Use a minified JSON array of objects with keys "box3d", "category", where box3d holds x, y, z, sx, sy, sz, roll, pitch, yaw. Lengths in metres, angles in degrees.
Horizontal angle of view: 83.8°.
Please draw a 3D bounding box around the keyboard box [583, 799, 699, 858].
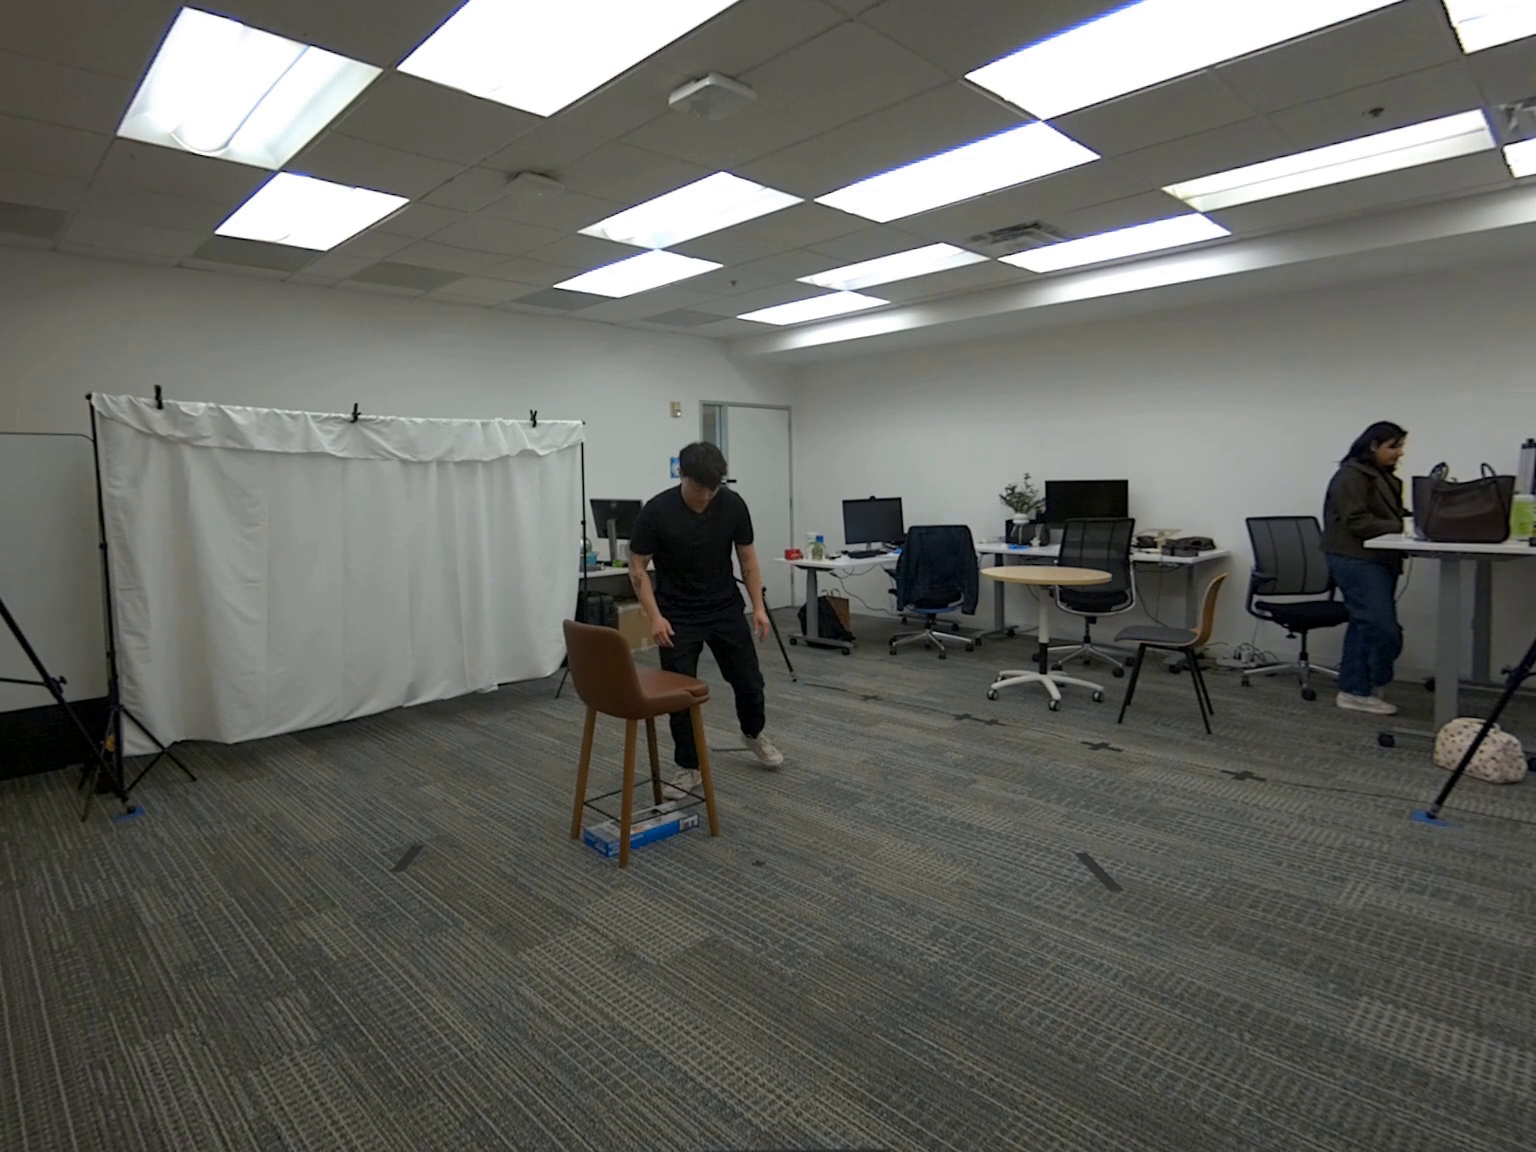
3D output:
[{"box3d":[-0.501,1.007,3.386,0.425,0.059,0.181,-7,8,-41],"category":"keyboard box"}]
